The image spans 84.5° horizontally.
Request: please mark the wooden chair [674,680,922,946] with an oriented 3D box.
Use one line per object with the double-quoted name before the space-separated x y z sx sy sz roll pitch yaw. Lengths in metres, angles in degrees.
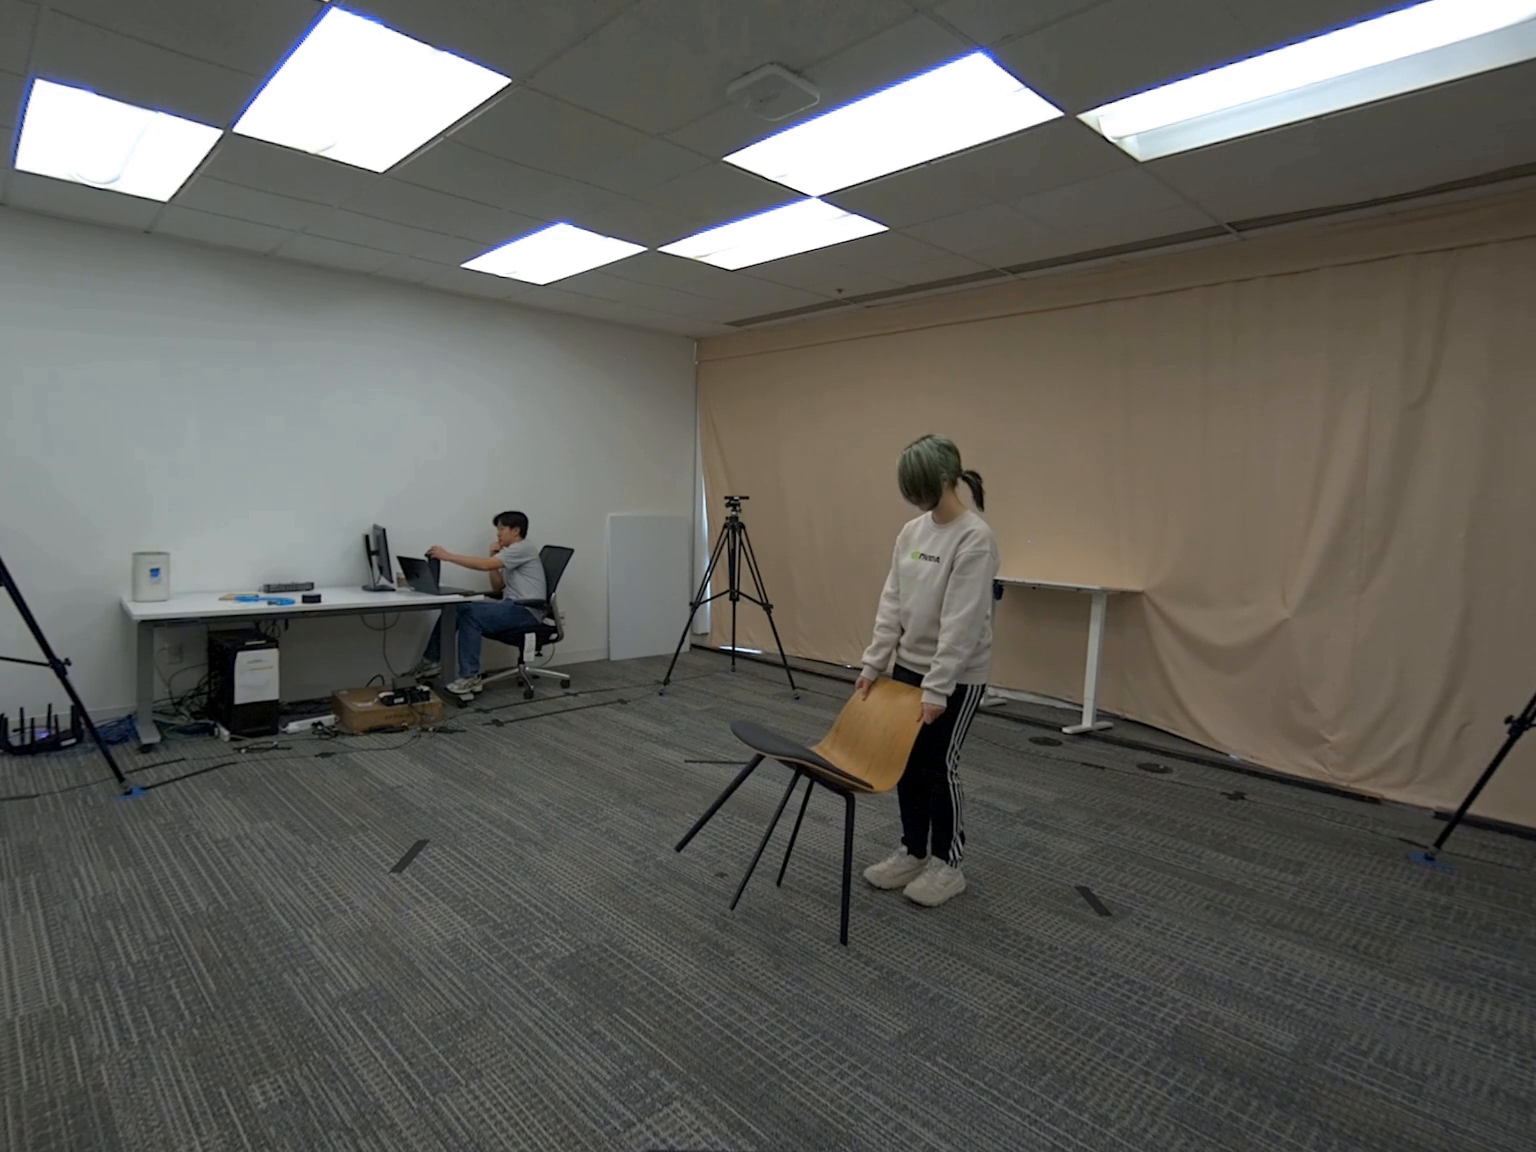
"wooden chair" 0.122 0.653 2.779 0.511 0.879 0.488 32 -9 -25
